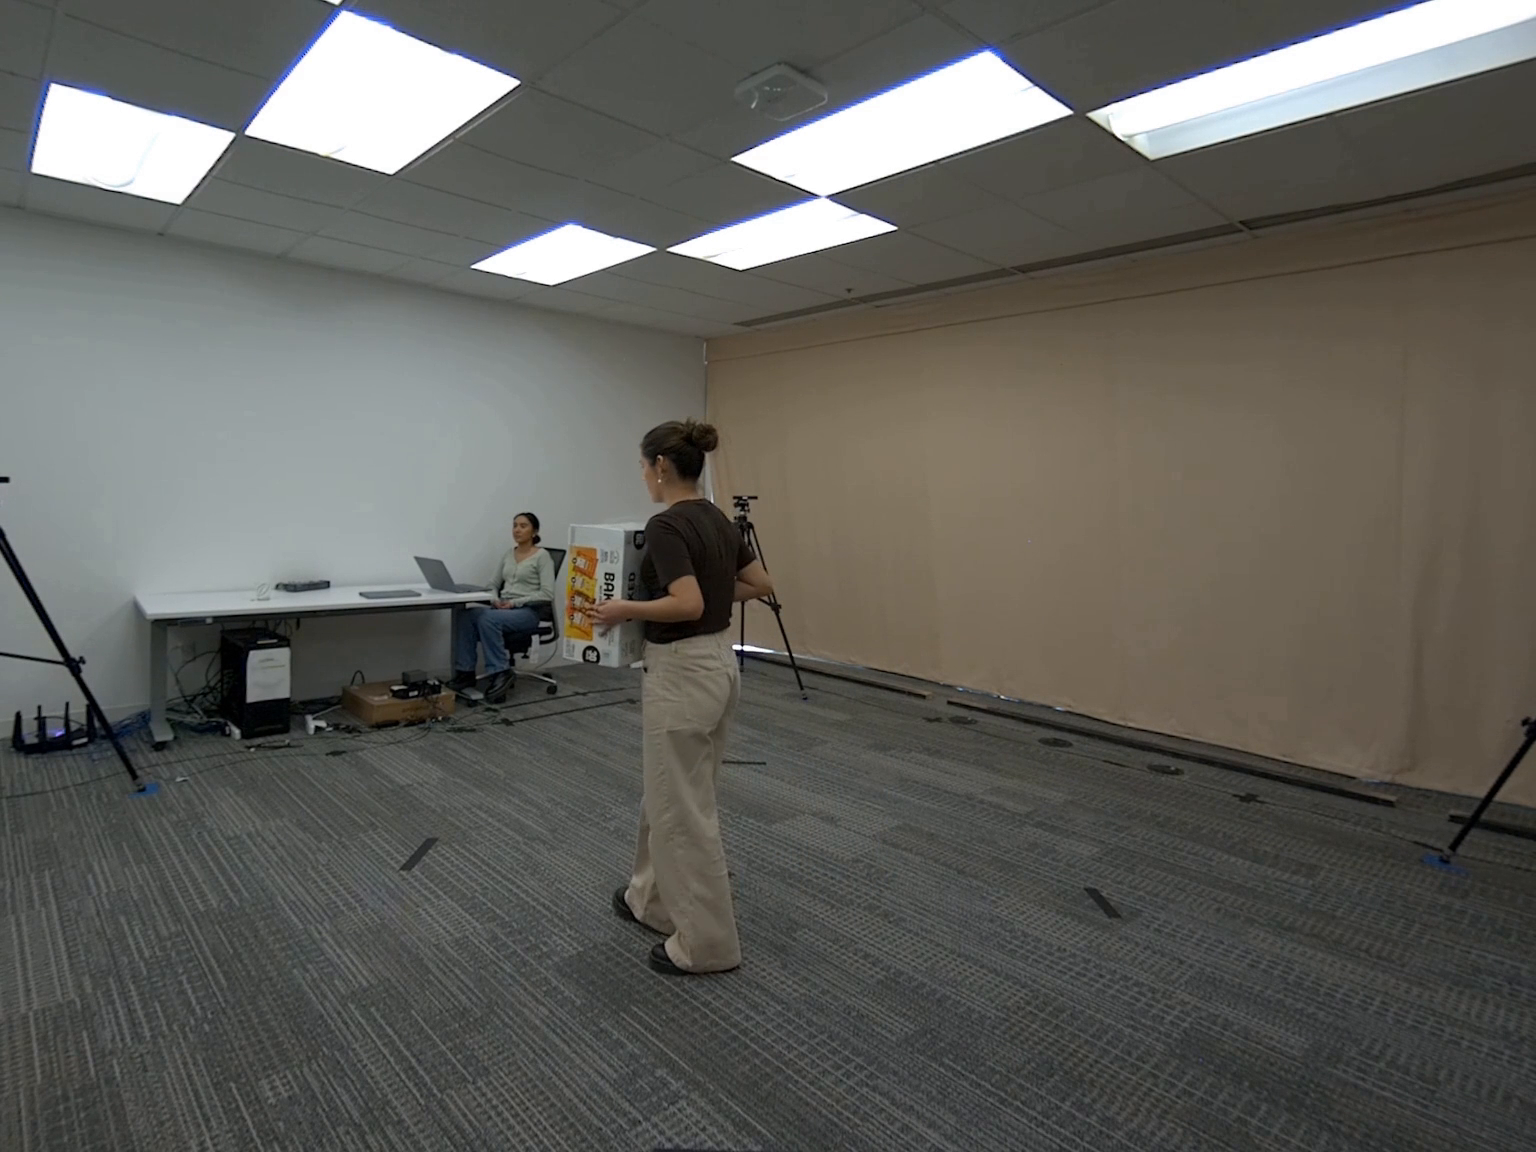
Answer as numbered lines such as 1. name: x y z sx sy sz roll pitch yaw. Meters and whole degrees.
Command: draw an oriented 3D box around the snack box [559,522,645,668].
1. snack box: -0.456 0.044 2.623 0.210 0.404 0.335 5 6 24
